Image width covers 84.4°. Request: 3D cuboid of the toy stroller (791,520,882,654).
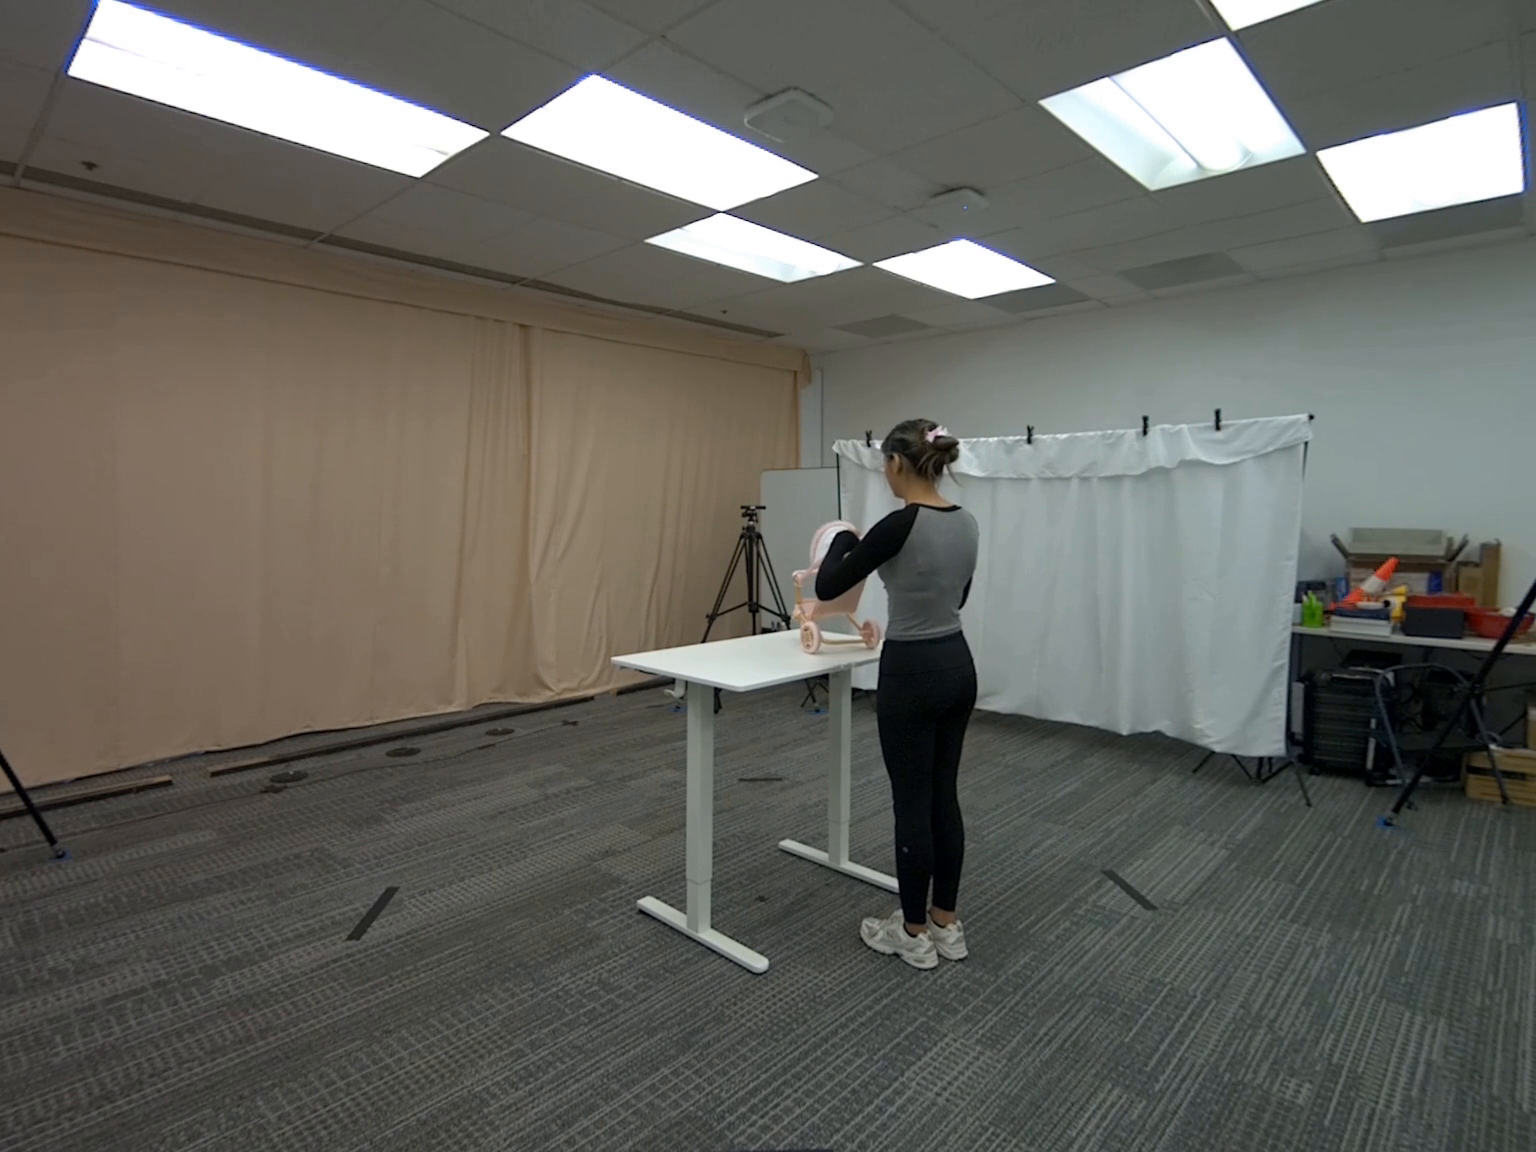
[{"bbox_3d":[0.238,0.039,2.997,0.275,0.530,0.352,0,20,-22],"label":"toy stroller"}]
